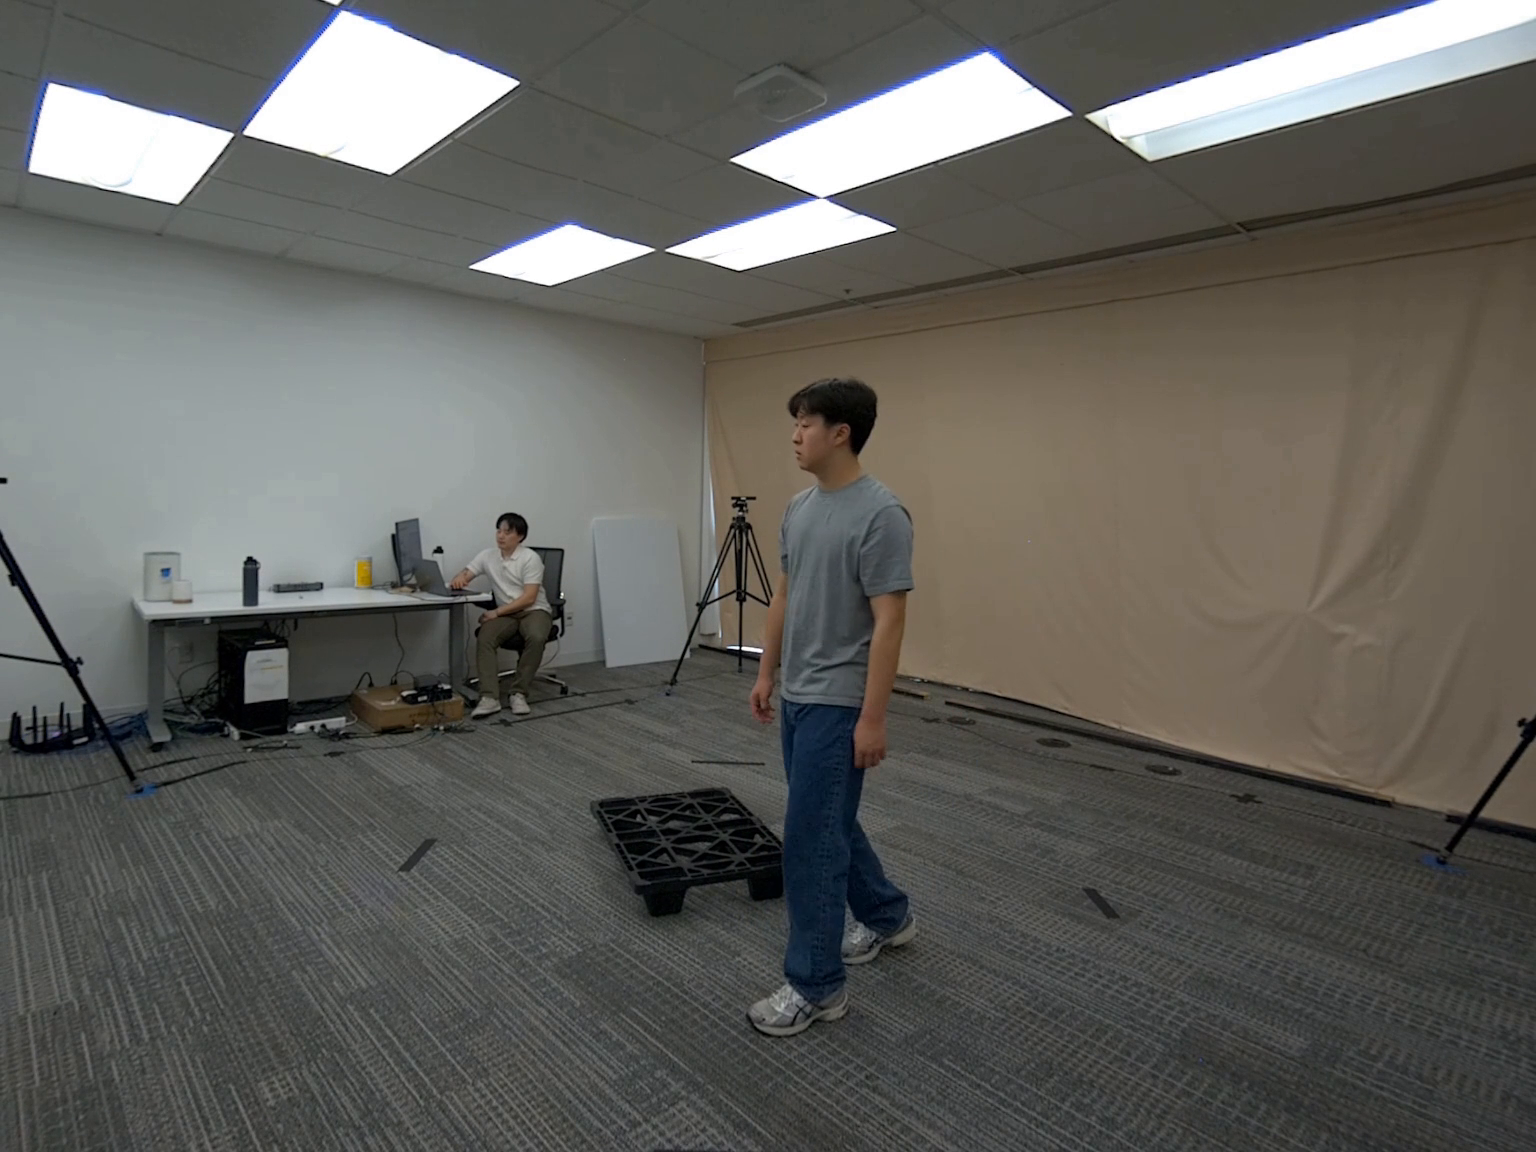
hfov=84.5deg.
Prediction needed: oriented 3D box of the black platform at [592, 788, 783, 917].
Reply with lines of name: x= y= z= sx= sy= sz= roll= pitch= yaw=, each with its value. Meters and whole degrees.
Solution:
black platform: x=-0.313 y=1.025 z=3.203 sx=0.595 sy=0.143 sz=0.821 roll=0 pitch=6 yaw=-22
